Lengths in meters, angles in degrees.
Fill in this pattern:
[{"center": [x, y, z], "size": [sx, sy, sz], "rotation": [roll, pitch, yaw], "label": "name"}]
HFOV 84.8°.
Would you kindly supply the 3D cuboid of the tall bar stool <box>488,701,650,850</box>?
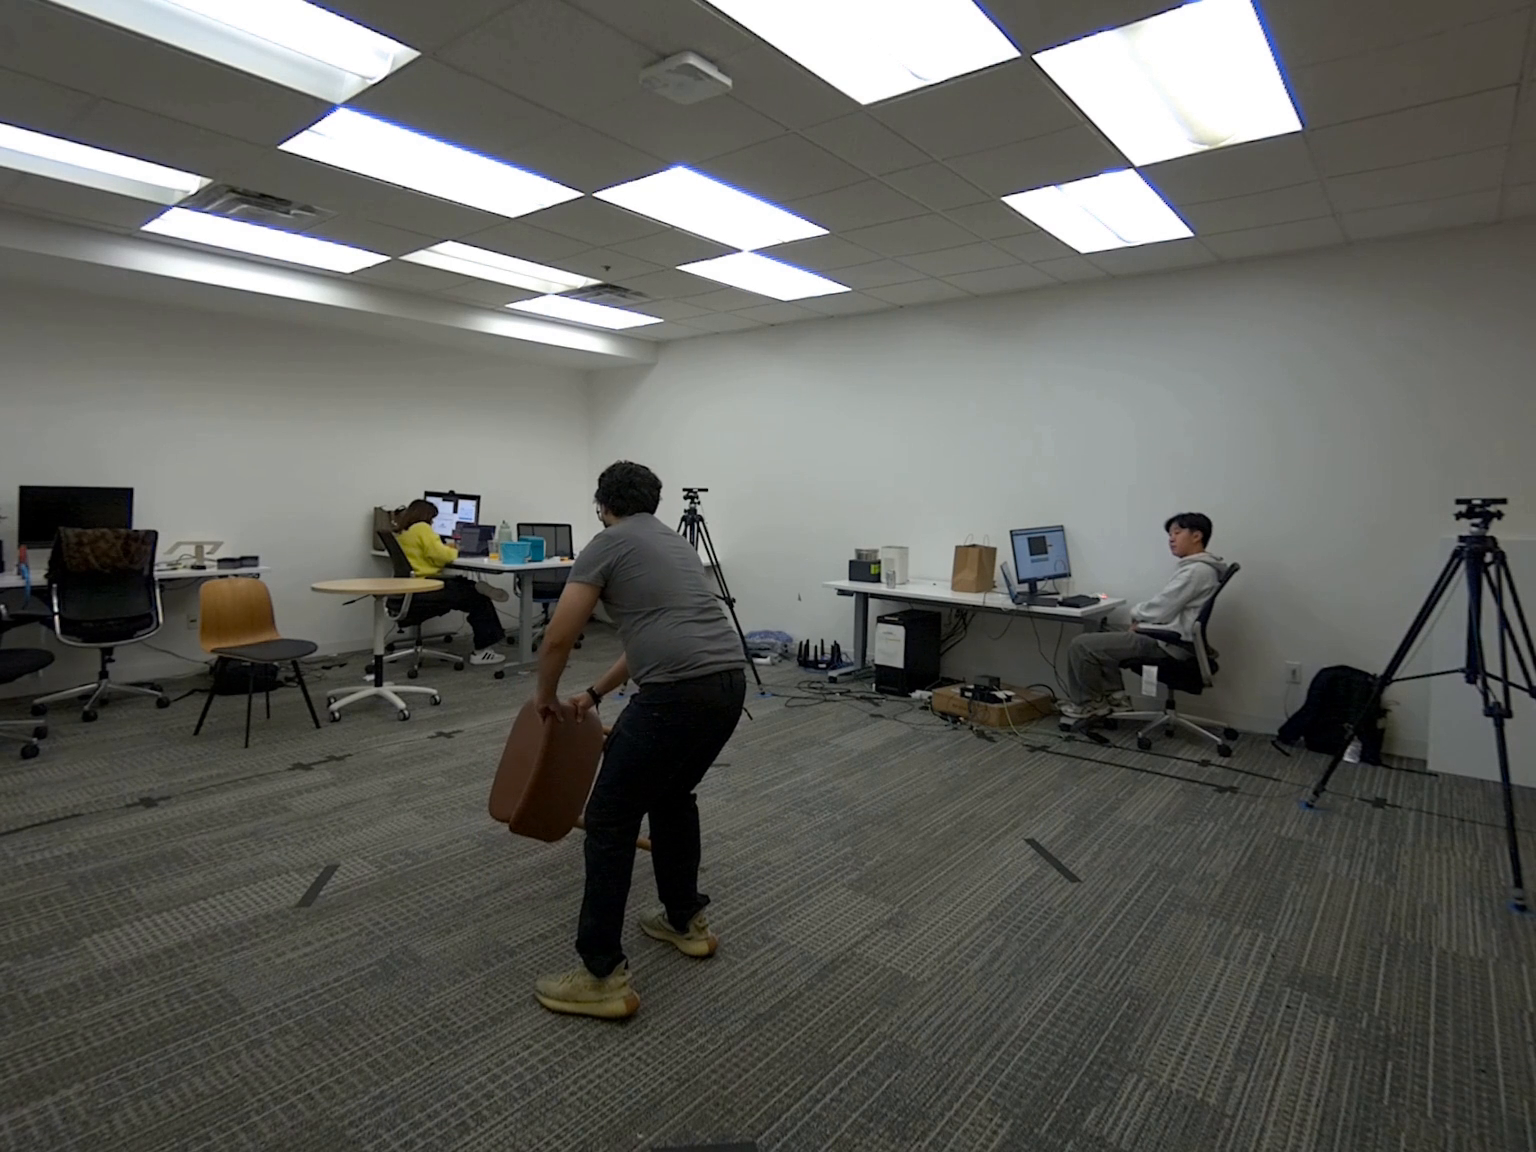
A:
[{"center": [-0.703, 0.714, 3.054], "size": [0.483, 0.460, 0.853], "rotation": [7, -17, 34], "label": "tall bar stool"}]
